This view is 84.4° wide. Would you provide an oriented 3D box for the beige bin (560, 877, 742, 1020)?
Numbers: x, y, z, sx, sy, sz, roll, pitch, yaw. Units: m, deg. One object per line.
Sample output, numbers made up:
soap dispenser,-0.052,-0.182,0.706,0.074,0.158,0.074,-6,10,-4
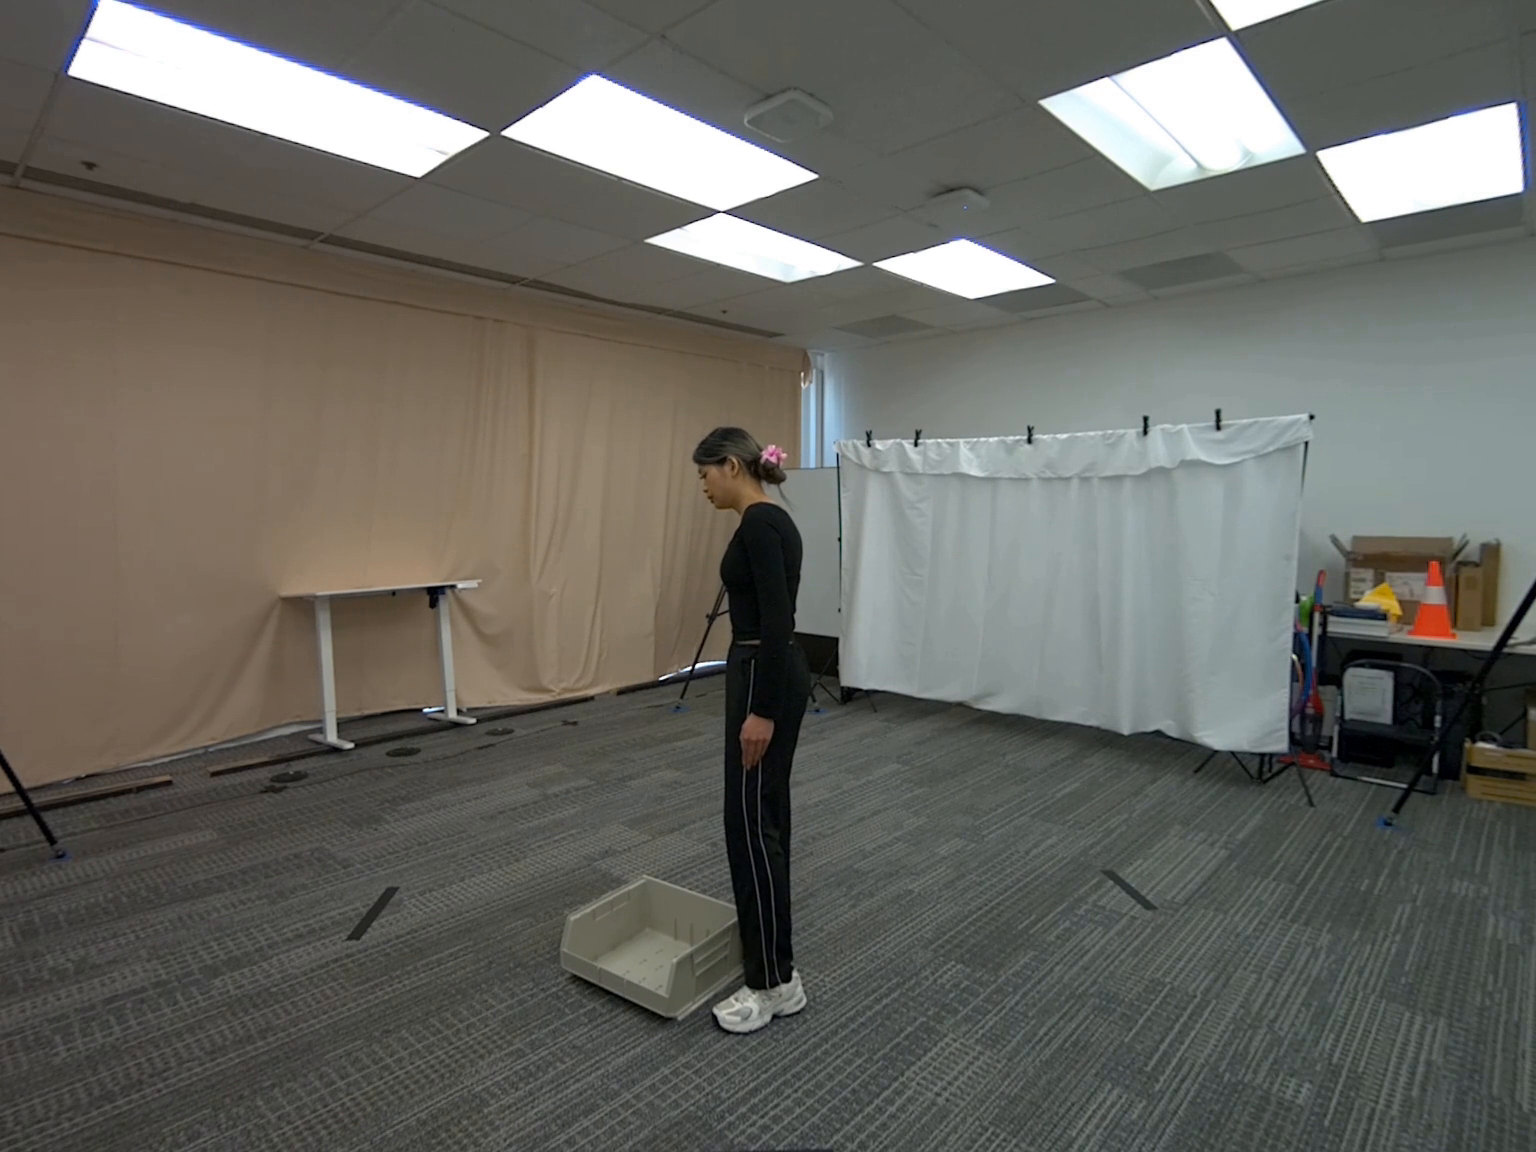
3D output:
beige bin,-0.334,1.098,2.500,0.435,0.189,0.366,2,4,35
